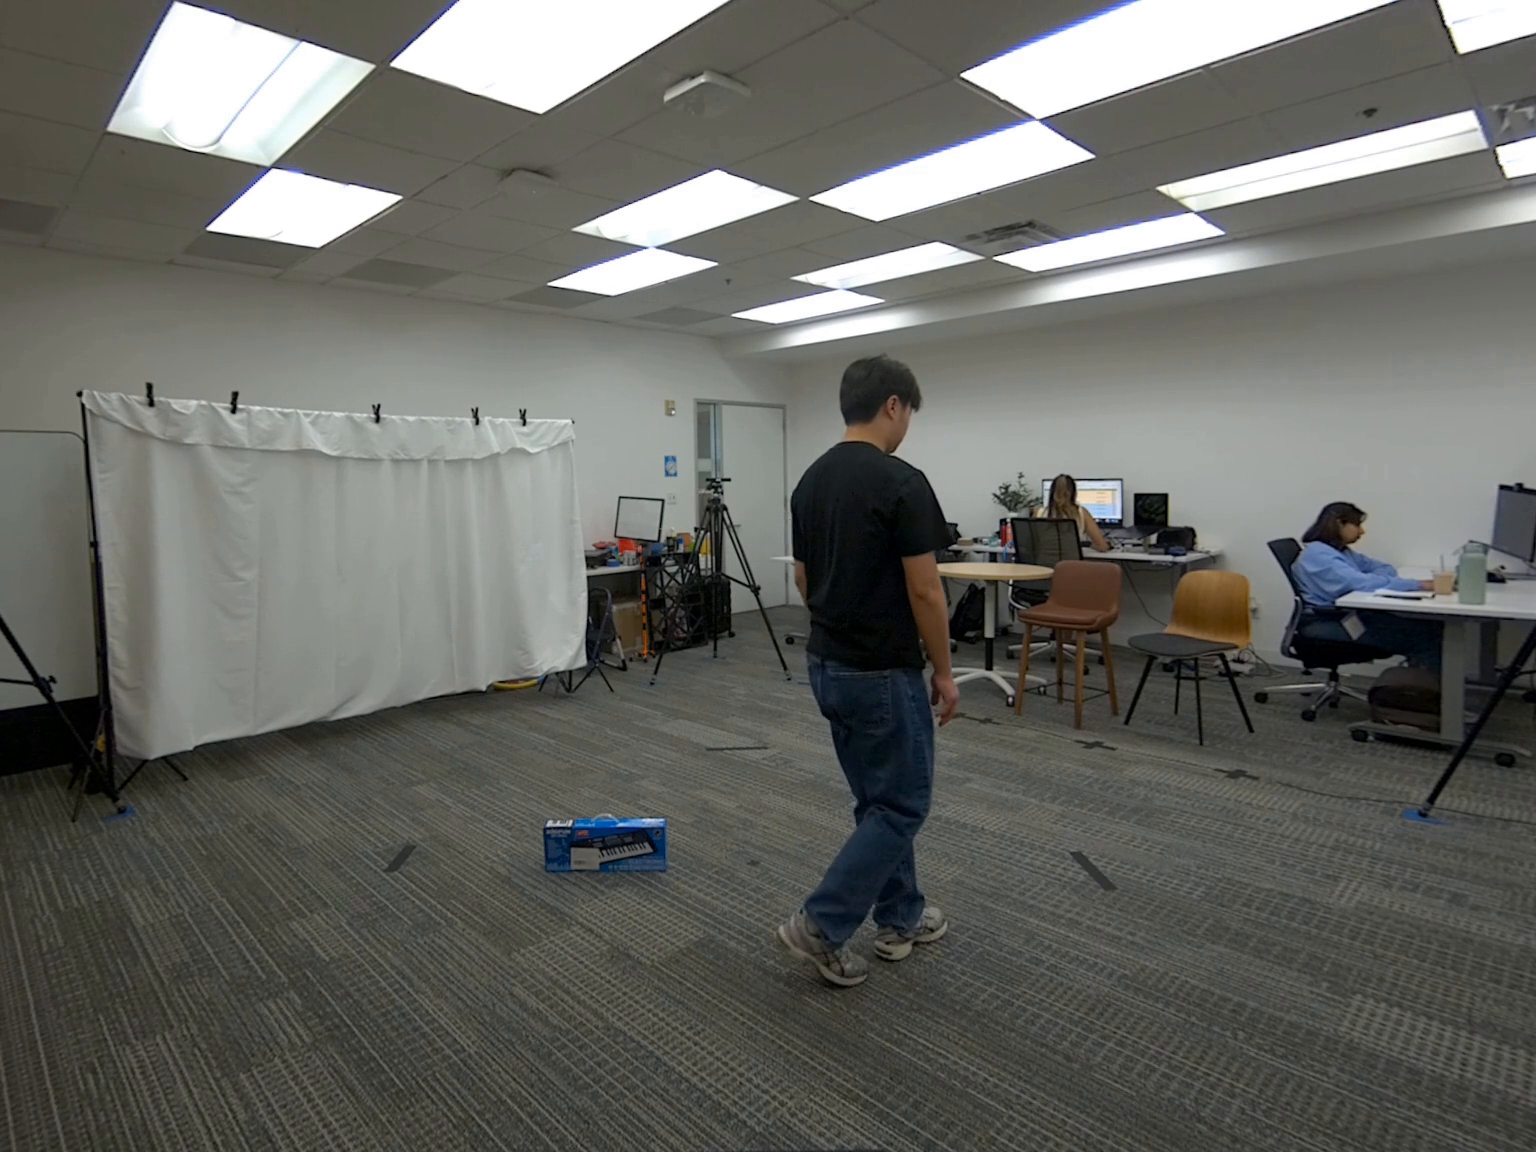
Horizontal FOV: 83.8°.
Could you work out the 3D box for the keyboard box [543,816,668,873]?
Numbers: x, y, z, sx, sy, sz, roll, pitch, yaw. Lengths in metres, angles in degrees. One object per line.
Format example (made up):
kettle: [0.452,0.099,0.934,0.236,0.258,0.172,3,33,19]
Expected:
keyboard box: [-0.582,0.968,3.070,0.437,0.174,0.059,-1,8,2]
